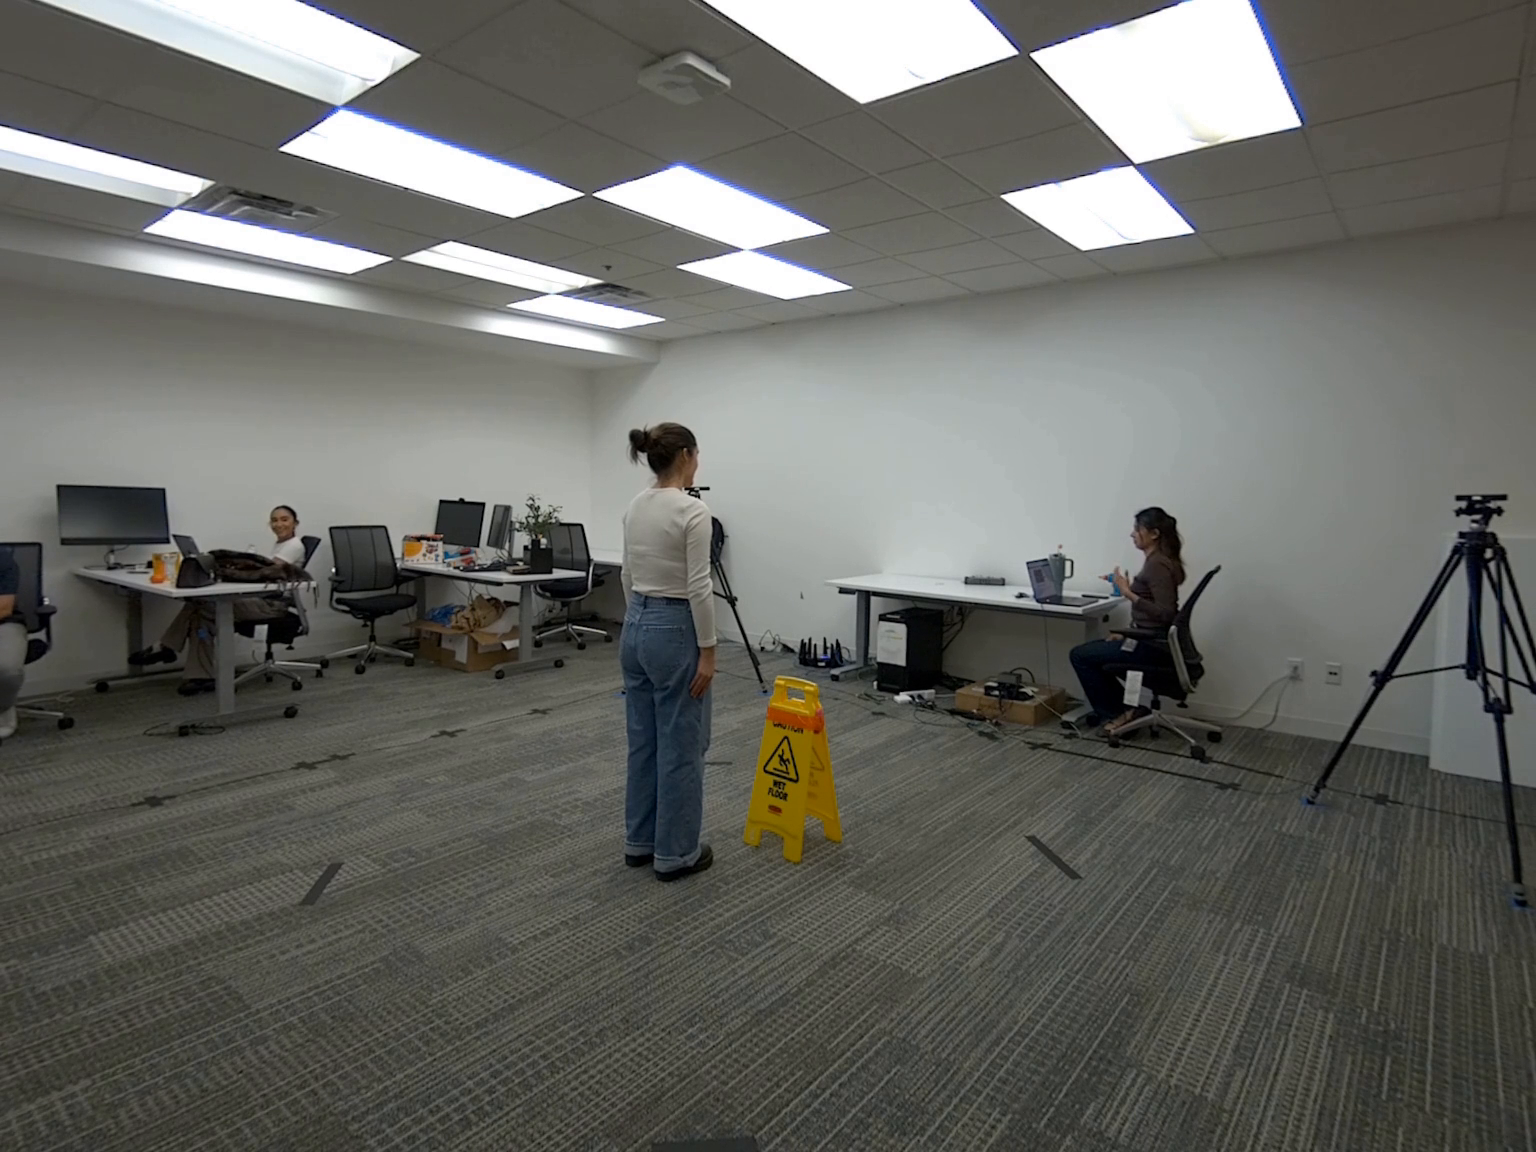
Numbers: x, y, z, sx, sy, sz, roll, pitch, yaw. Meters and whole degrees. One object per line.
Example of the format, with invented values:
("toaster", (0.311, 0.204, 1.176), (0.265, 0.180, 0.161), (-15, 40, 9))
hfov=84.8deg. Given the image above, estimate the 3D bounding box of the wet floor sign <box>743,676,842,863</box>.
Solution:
("wet floor sign", (0.094, 0.725, 3.334), (0.292, 0.644, 0.281), (4, 5, 41))
